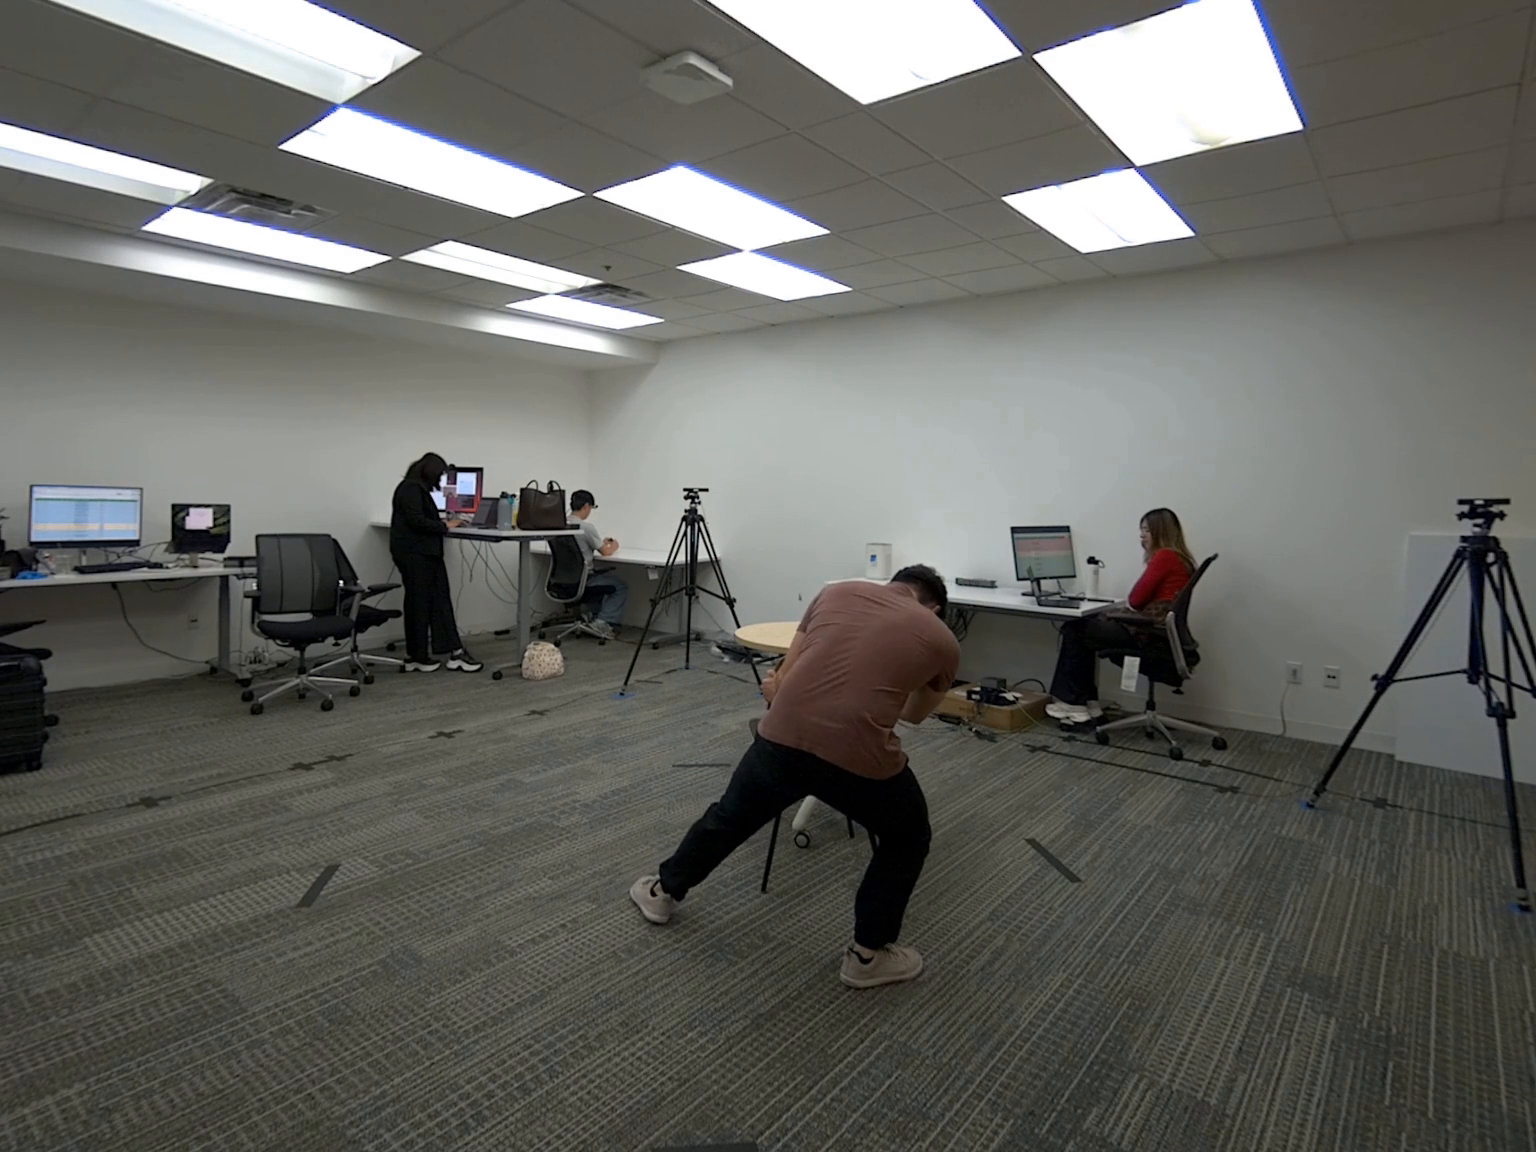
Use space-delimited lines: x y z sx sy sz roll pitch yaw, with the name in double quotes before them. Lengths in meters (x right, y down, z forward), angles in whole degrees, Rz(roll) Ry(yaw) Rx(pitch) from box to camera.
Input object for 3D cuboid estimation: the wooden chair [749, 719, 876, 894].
"wooden chair" 0.146 0.639 3.165 0.474 0.871 0.531 0 8 -9
